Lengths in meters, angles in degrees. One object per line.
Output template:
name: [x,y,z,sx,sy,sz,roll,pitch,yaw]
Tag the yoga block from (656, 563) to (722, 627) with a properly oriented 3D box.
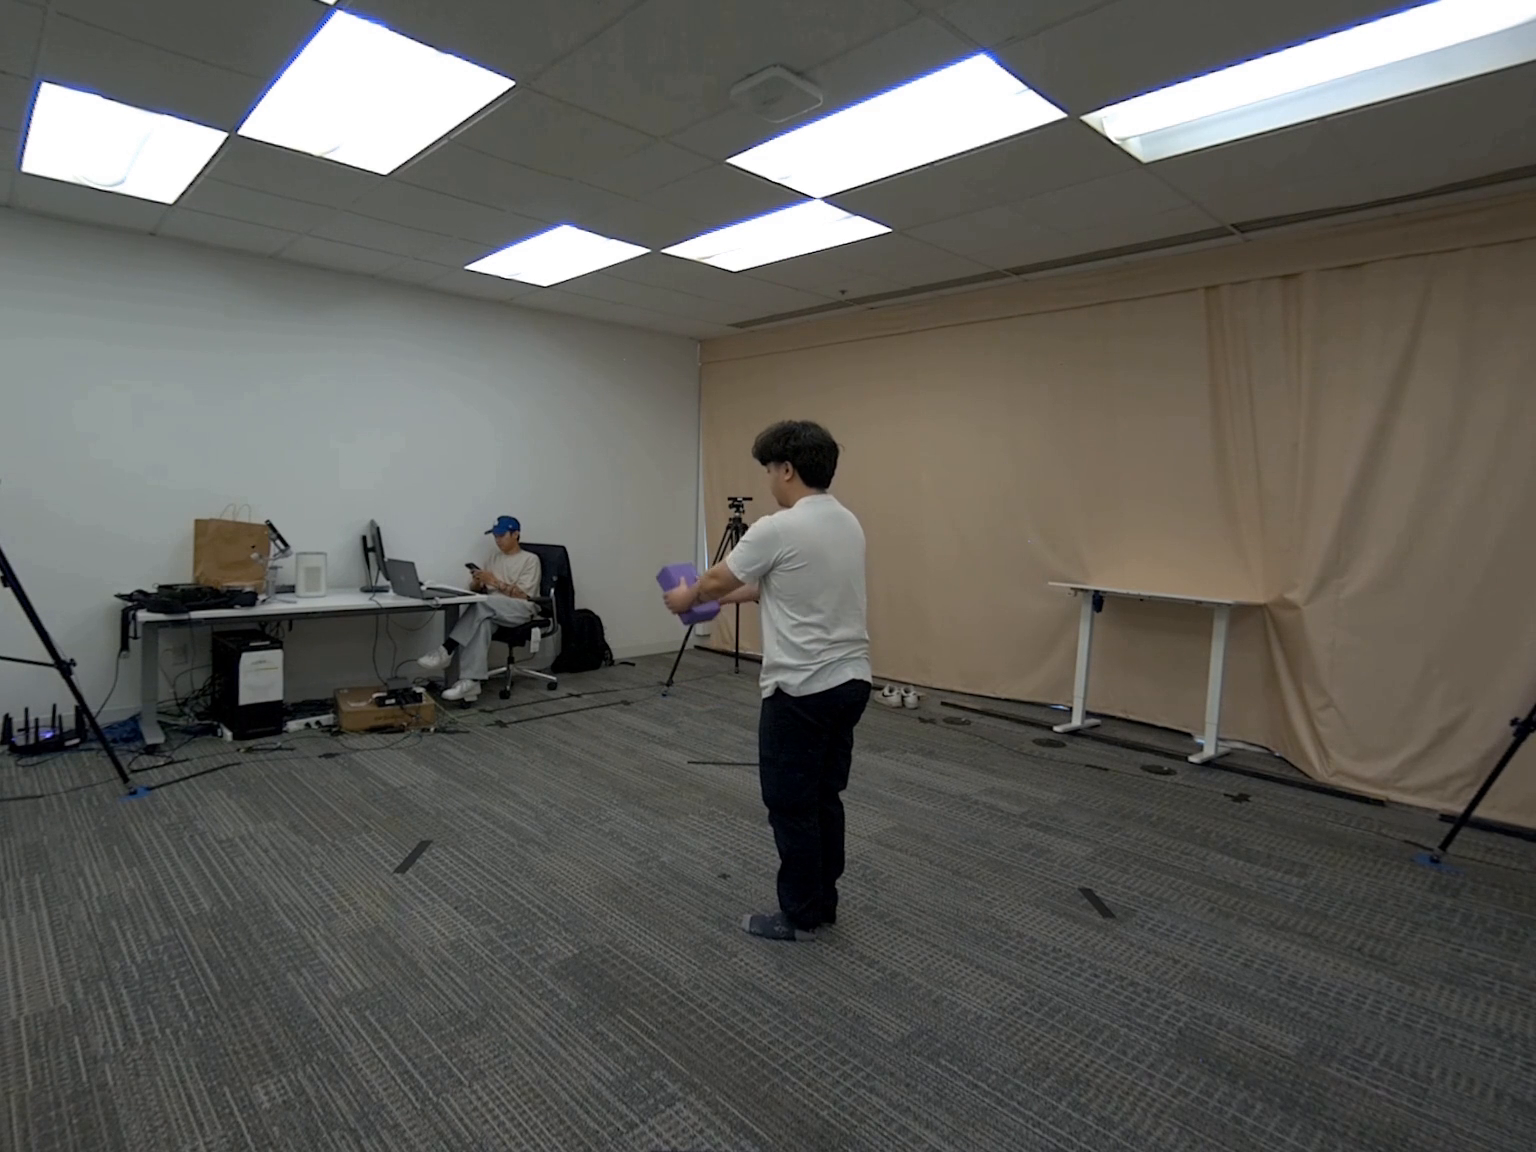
yoga block: [-0.286,0.058,3.068,0.146,0.076,0.235,-7,53,-47]
